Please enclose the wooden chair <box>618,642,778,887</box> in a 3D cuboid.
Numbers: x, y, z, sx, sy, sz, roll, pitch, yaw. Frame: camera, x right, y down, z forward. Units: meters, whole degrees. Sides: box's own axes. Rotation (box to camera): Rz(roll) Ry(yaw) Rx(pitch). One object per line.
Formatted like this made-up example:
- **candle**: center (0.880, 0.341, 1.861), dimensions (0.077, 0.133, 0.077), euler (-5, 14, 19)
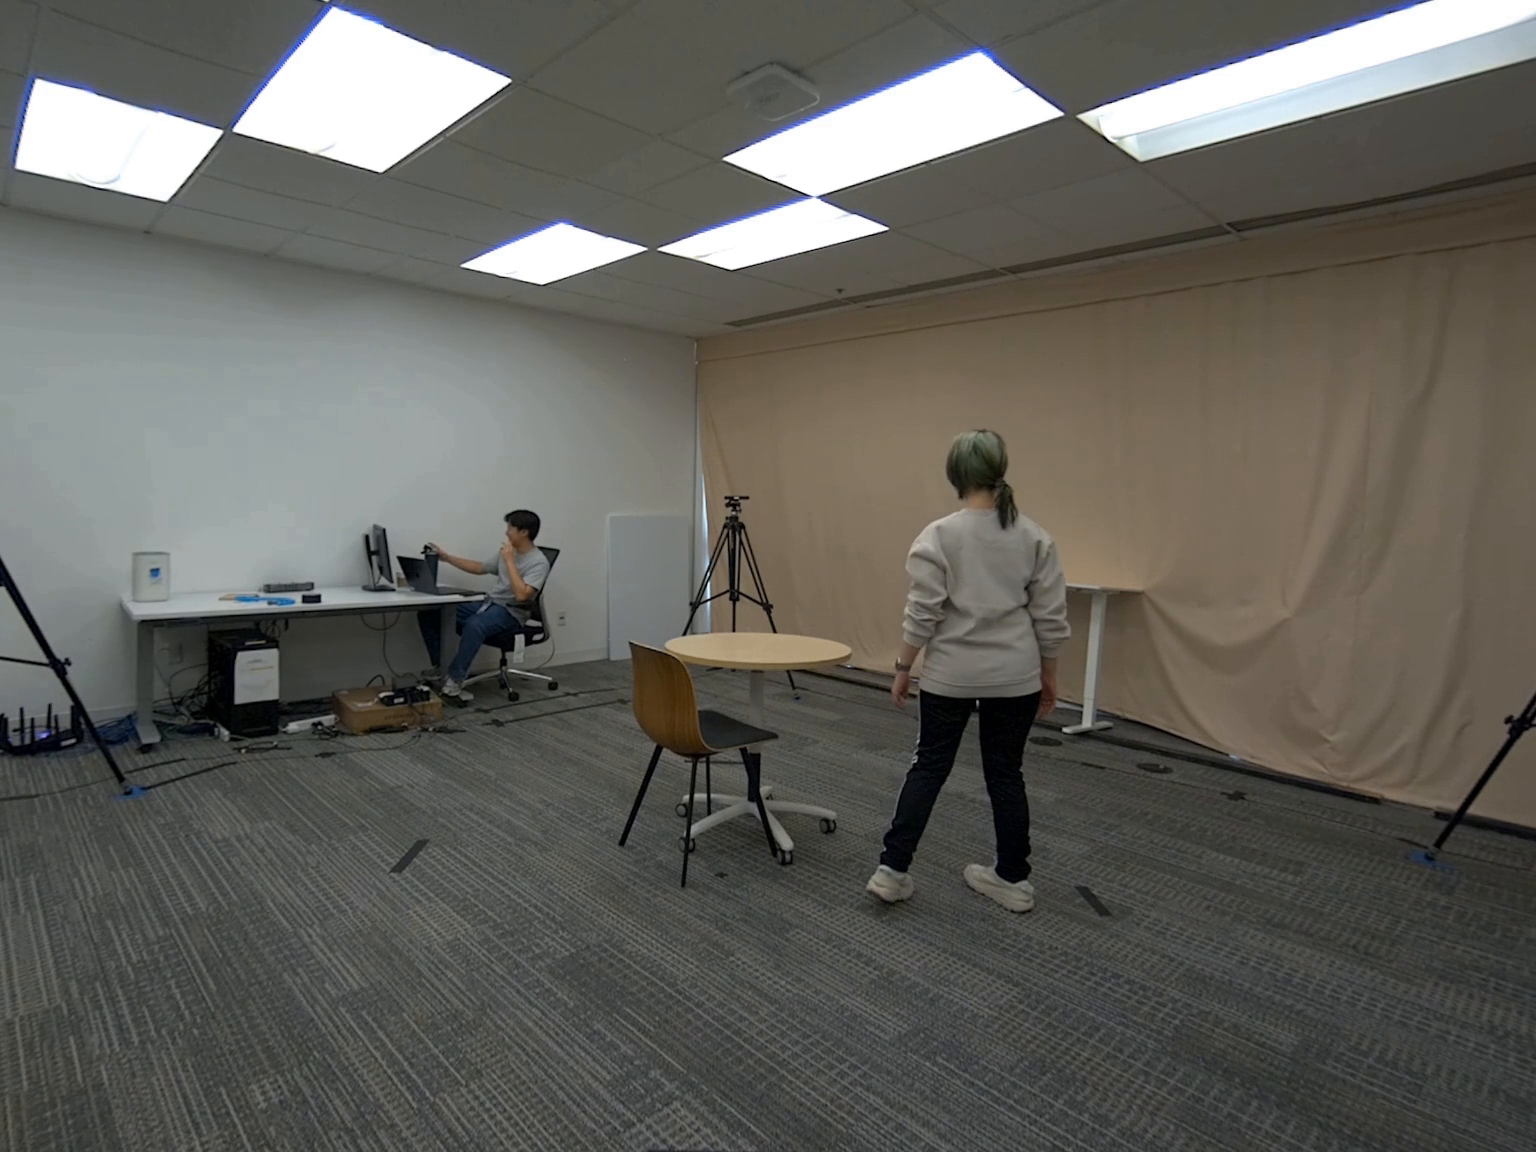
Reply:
- **wooden chair**: center (-0.265, 0.657, 3.278), dimensions (0.512, 0.874, 0.490), euler (-6, 7, -39)
